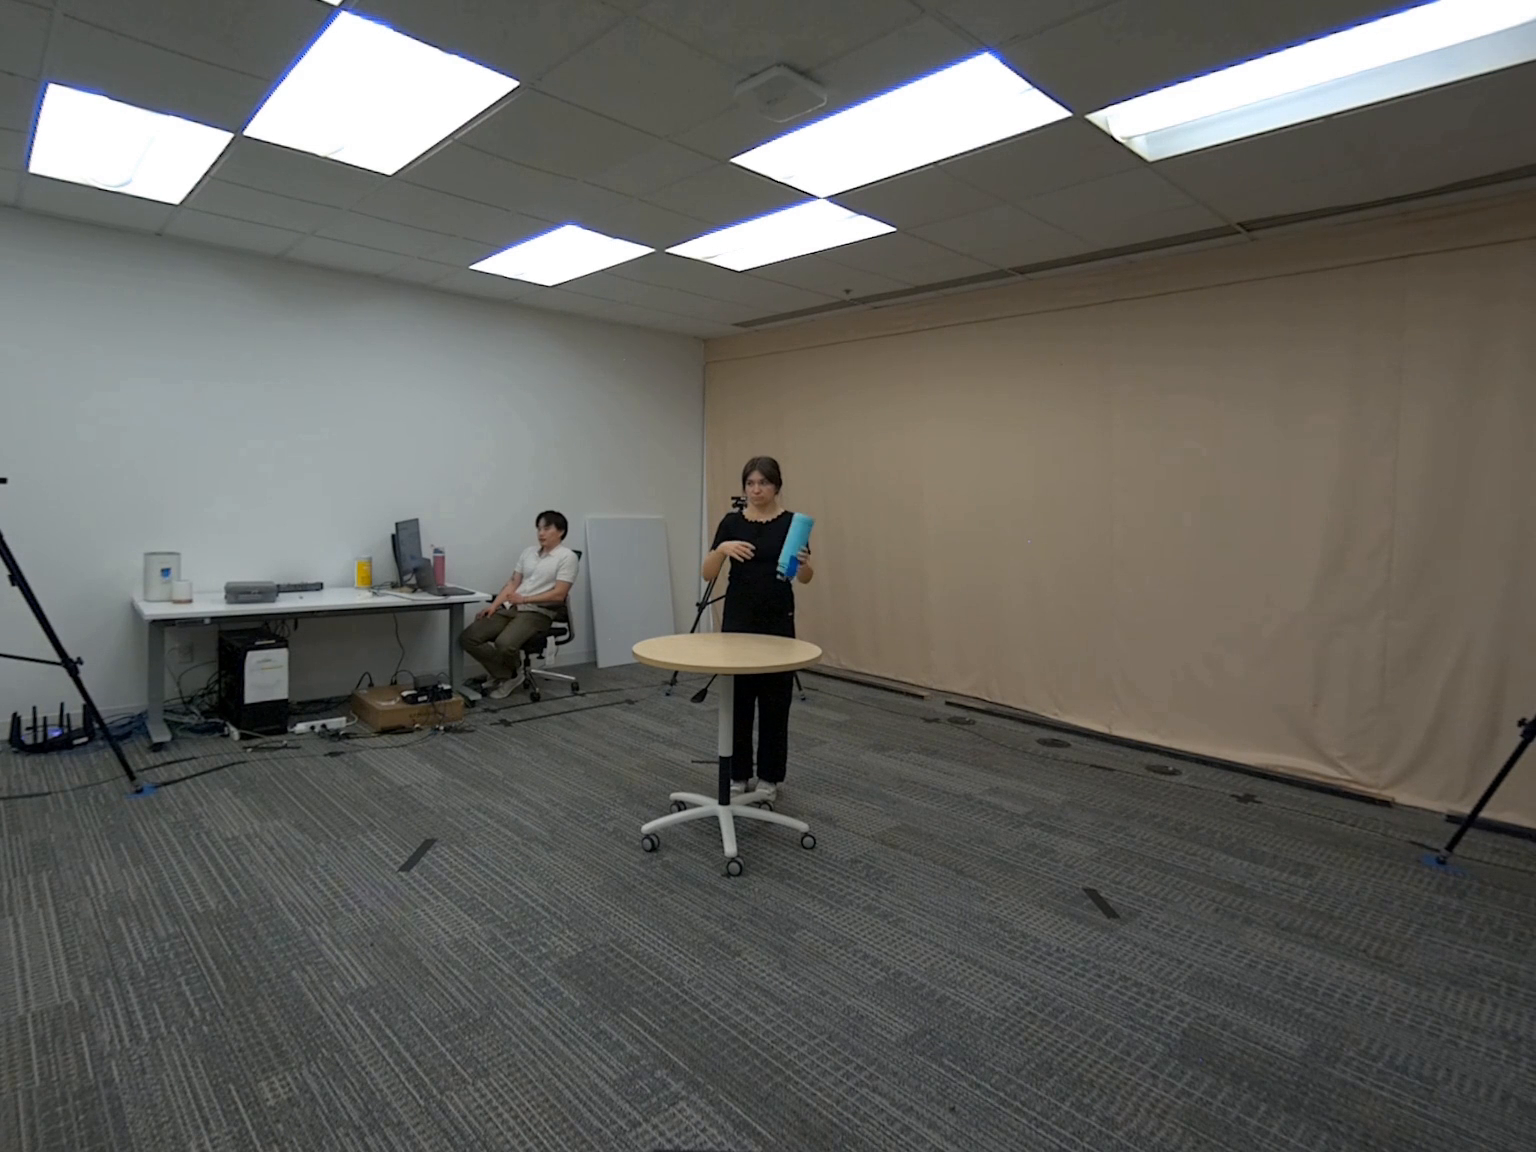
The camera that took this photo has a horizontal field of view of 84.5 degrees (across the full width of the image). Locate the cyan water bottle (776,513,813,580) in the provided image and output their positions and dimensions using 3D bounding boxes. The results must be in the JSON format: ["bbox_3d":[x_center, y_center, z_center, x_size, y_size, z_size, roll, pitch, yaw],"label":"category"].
[{"bbox_3d":[0.097,-0.112,3.524,0.092,0.284,0.092,20,-4,0],"label":"cyan water bottle"}]
